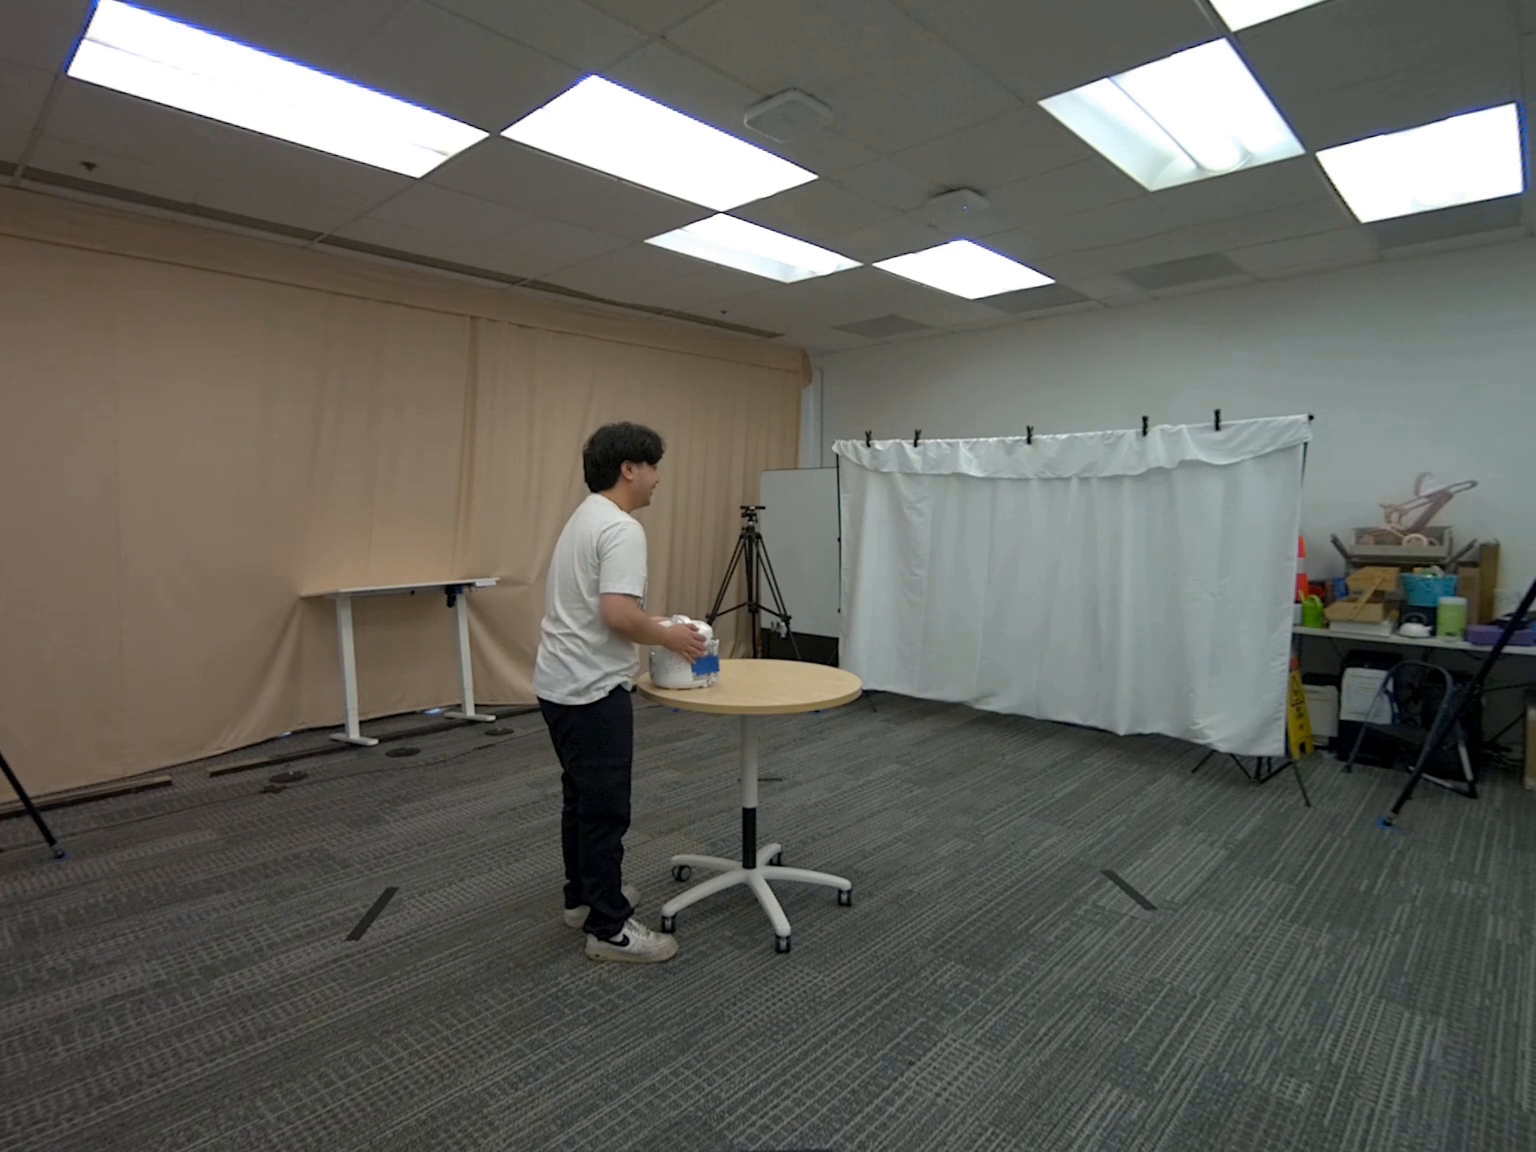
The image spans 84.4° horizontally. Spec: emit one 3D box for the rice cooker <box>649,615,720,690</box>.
[{"bbox_3d":[-0.285,0.249,2.793,0.212,0.232,0.226,-1,2,-25],"label":"rice cooker"}]
